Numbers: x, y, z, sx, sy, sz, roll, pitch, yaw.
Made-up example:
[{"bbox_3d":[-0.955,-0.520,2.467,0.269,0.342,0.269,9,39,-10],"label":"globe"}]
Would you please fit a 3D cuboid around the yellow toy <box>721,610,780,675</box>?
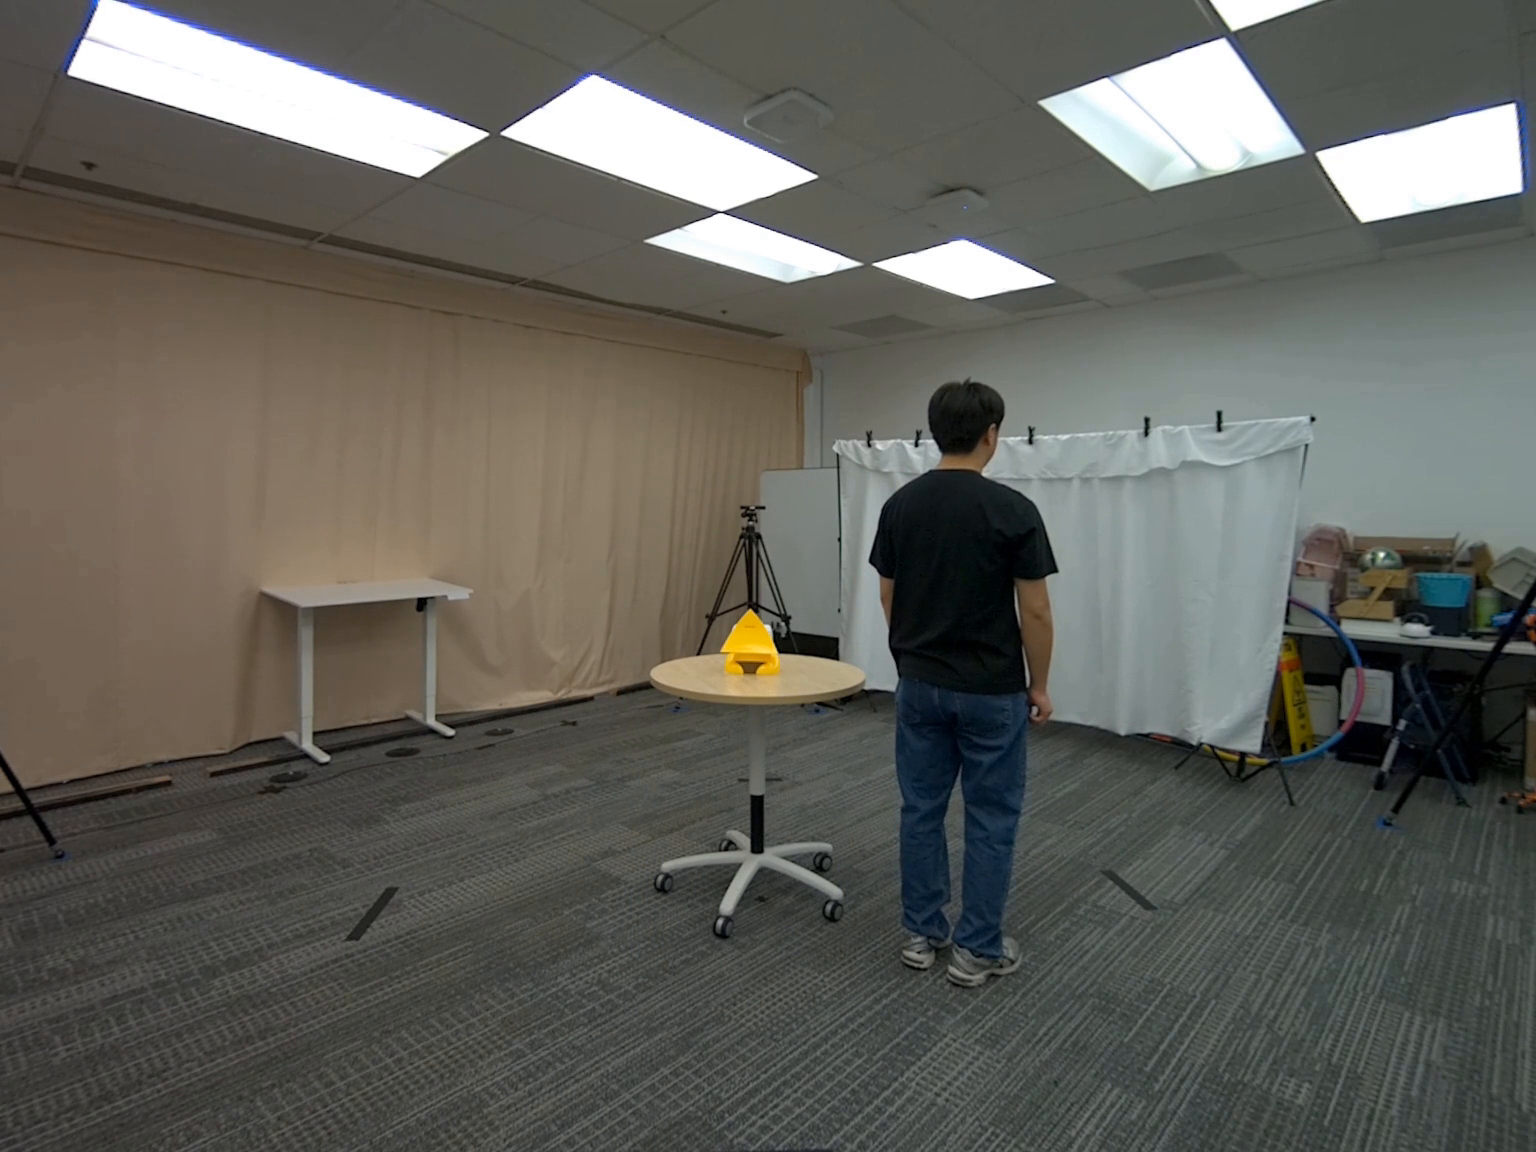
[{"bbox_3d":[-0.051,0.227,3.042,0.207,0.230,0.191,1,3,8],"label":"yellow toy"}]
